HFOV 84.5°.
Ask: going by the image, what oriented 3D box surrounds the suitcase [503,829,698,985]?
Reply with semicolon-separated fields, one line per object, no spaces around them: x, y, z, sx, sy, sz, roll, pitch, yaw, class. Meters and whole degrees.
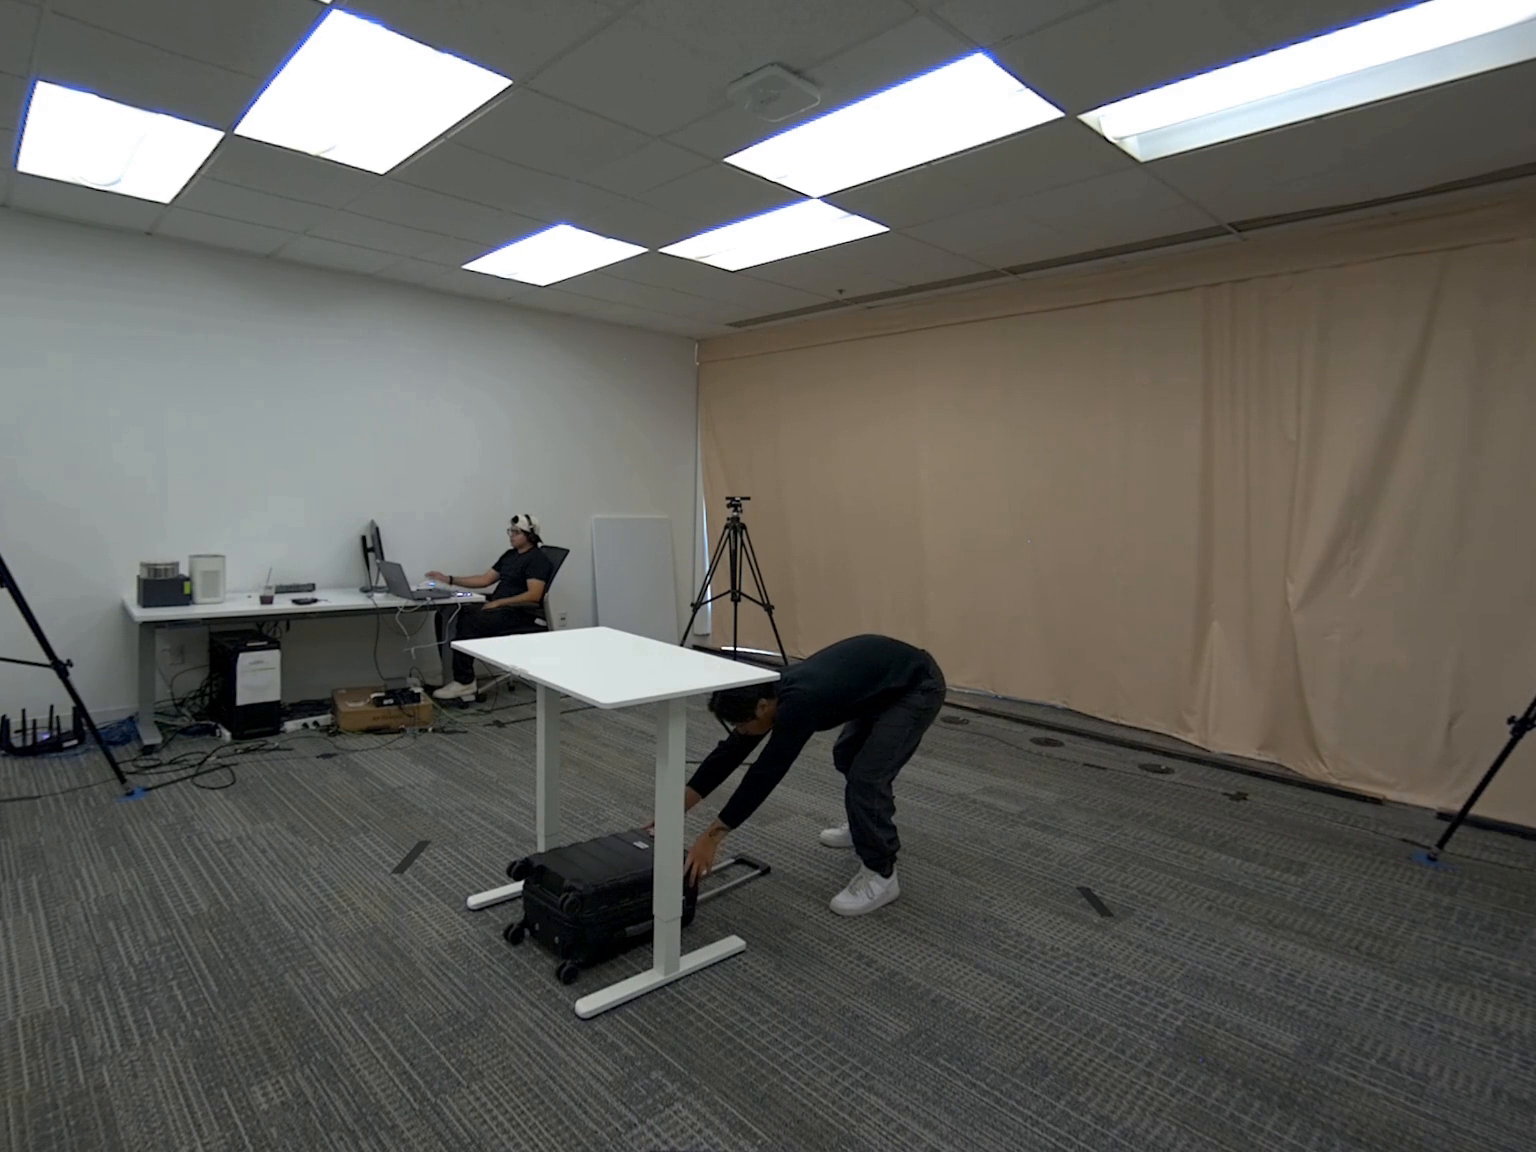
-0.370;0.998;2.835;0.394;0.256;0.956;6;6;43;suitcase
